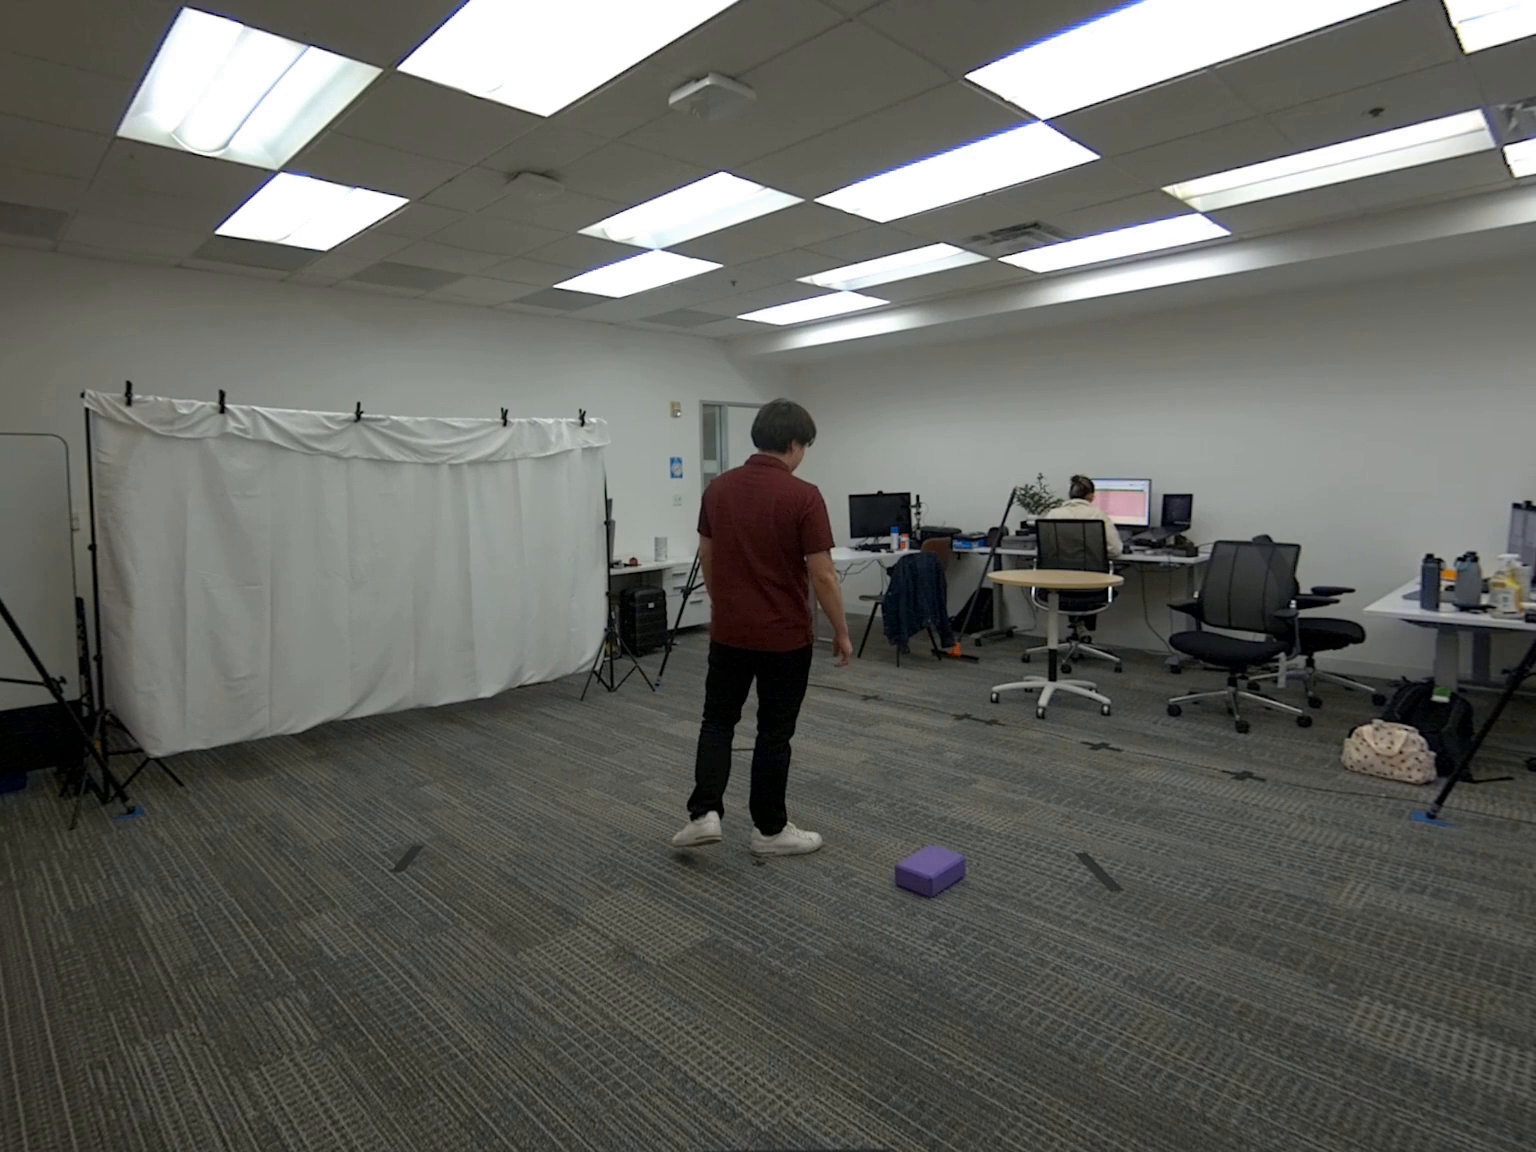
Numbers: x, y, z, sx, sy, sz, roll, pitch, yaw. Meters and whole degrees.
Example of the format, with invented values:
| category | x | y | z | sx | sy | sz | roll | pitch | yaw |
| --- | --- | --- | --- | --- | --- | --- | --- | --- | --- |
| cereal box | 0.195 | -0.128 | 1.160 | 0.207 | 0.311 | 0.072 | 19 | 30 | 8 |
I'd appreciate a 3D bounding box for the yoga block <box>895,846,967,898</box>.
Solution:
| category | x | y | z | sx | sy | sz | roll | pitch | yaw |
| --- | --- | --- | --- | --- | --- | --- | --- | --- | --- |
| yoga block | 0.563 | 1.015 | 2.945 | 0.153 | 0.076 | 0.223 | 4 | 8 | 42 |
